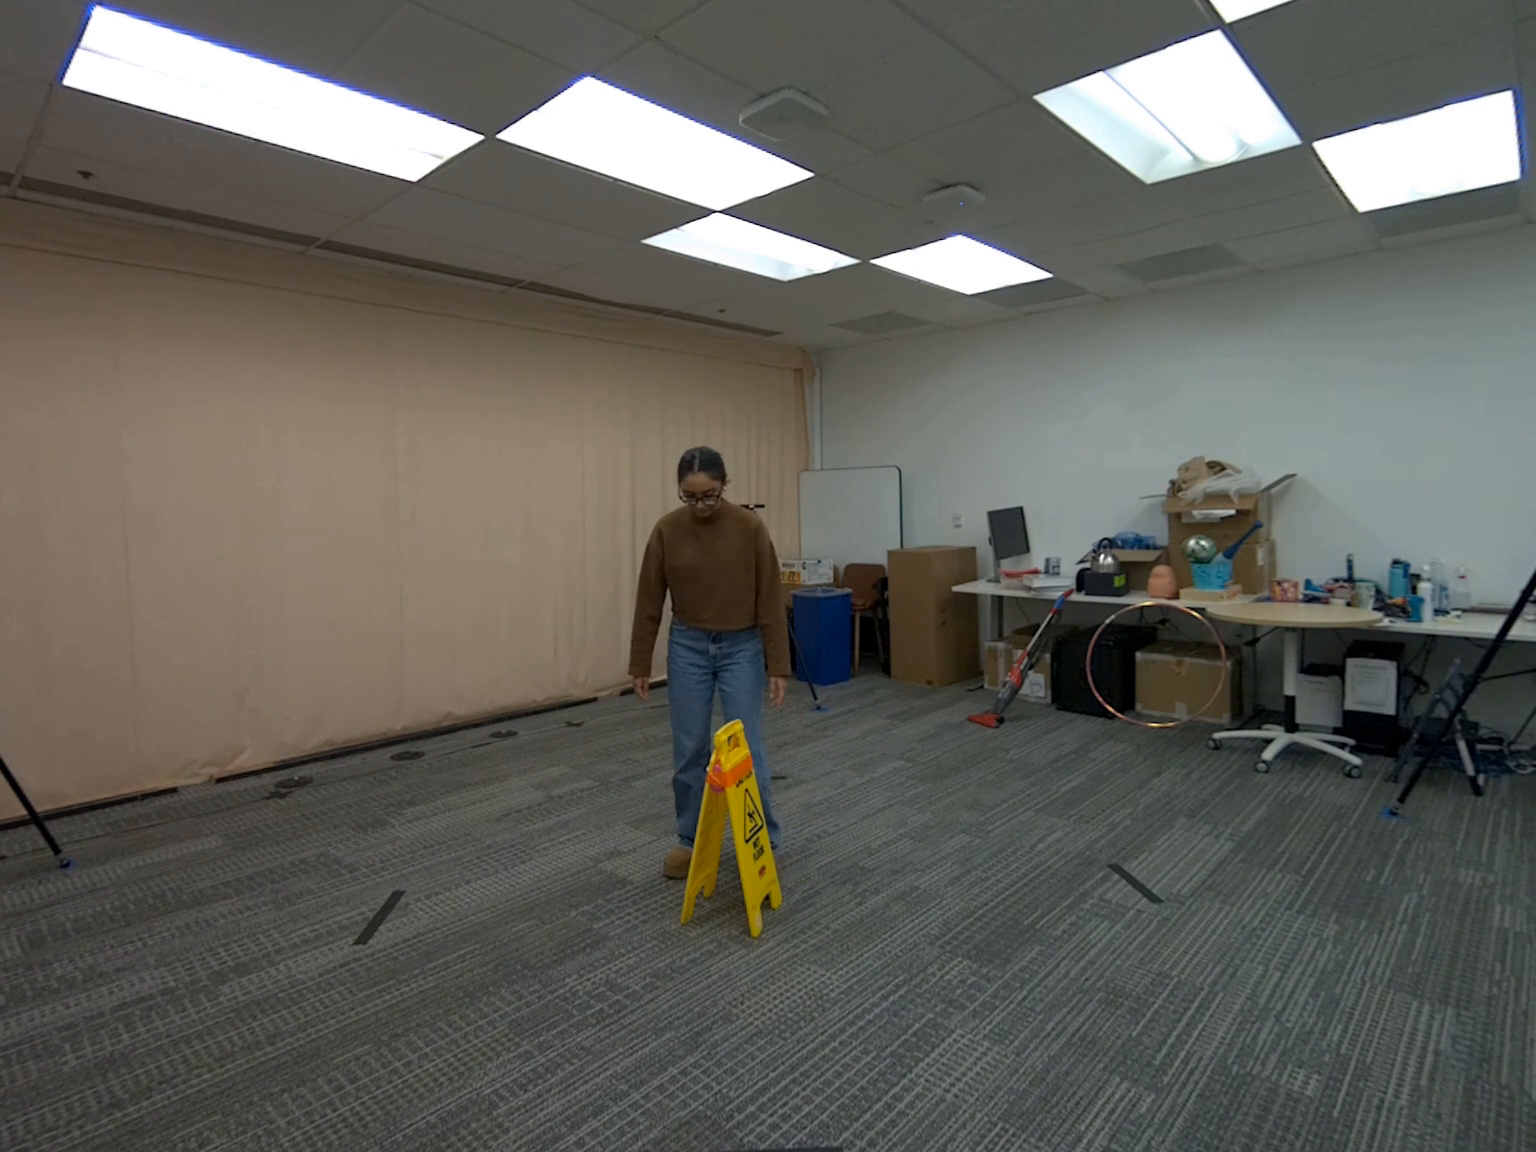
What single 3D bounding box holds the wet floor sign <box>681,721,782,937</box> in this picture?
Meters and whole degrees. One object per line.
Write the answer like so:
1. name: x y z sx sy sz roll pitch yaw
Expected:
1. wet floor sign: -0.132 0.825 2.862 0.296 0.645 0.277 -1 2 20
